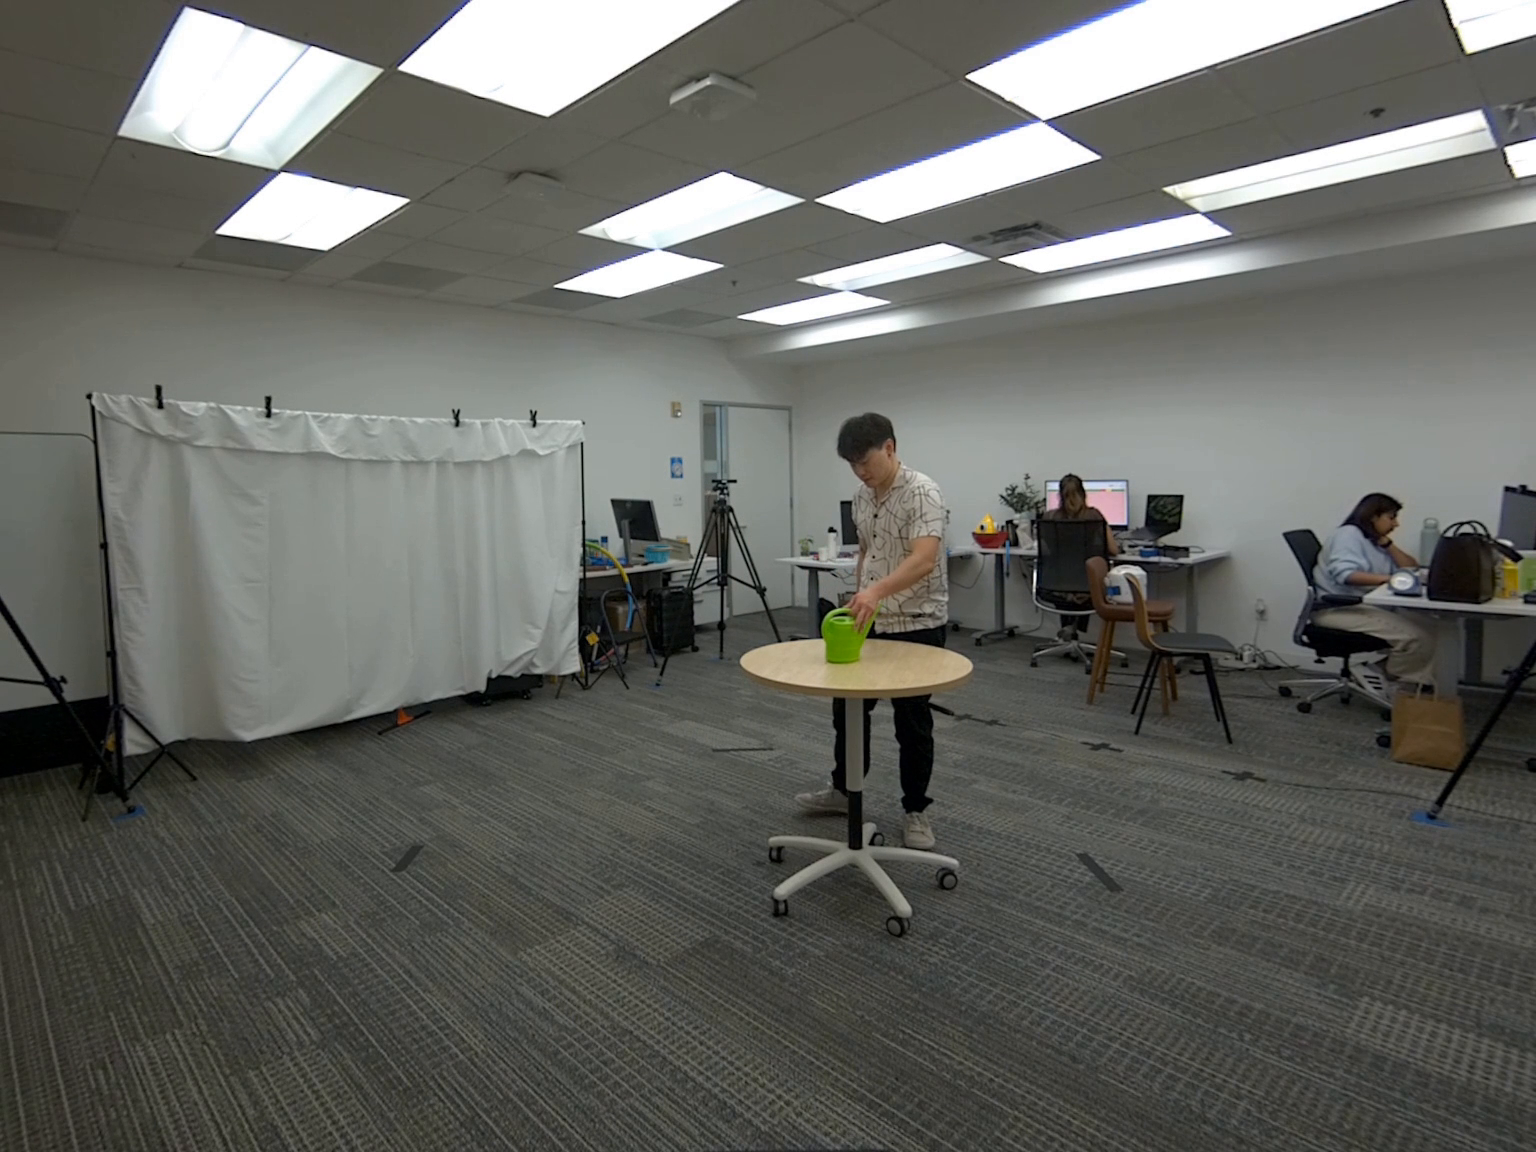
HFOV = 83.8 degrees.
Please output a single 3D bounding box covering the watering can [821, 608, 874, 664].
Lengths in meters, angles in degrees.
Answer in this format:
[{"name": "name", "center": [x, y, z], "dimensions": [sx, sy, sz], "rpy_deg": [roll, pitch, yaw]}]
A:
[{"name": "watering can", "center": [0.297, 0.188, 2.882], "dimensions": [0.273, 0.176, 0.100], "rpy_deg": [-4, 5, -23]}]
